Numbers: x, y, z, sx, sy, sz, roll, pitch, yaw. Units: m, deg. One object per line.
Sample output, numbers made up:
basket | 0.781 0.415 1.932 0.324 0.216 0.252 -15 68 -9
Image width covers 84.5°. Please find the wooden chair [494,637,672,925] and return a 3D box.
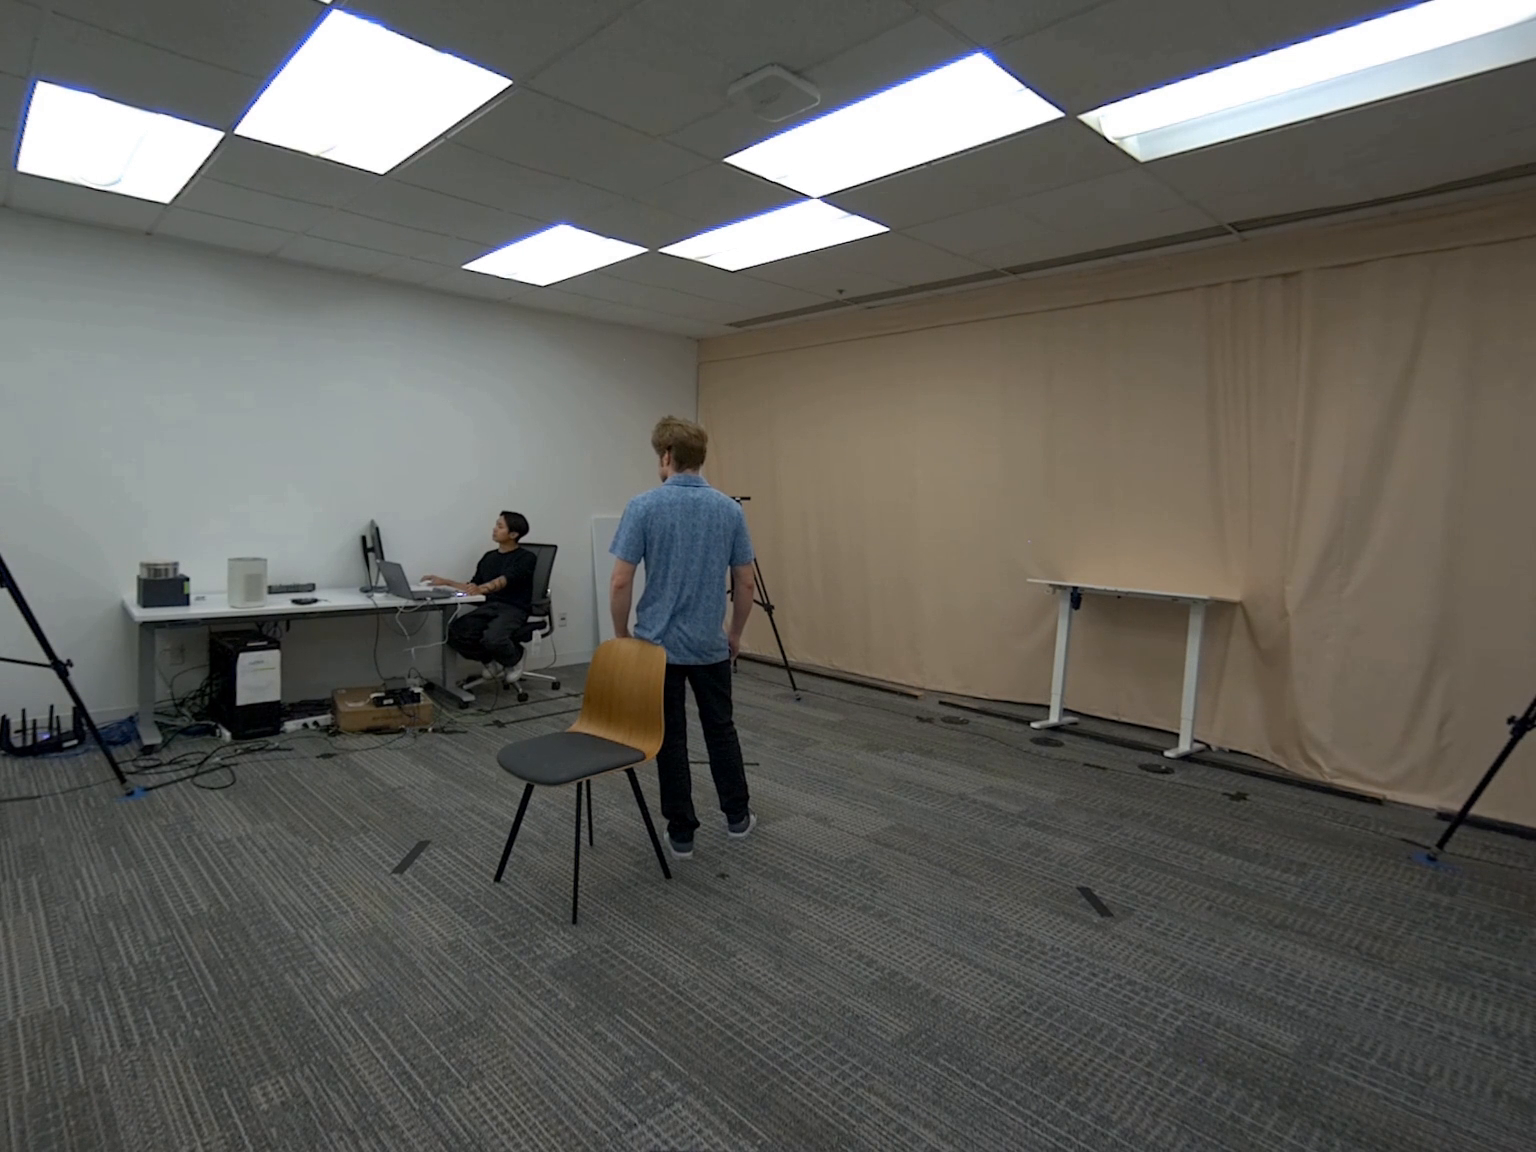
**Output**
wooden chair | -0.664 0.678 2.997 0.490 0.877 0.510 4 0 39
